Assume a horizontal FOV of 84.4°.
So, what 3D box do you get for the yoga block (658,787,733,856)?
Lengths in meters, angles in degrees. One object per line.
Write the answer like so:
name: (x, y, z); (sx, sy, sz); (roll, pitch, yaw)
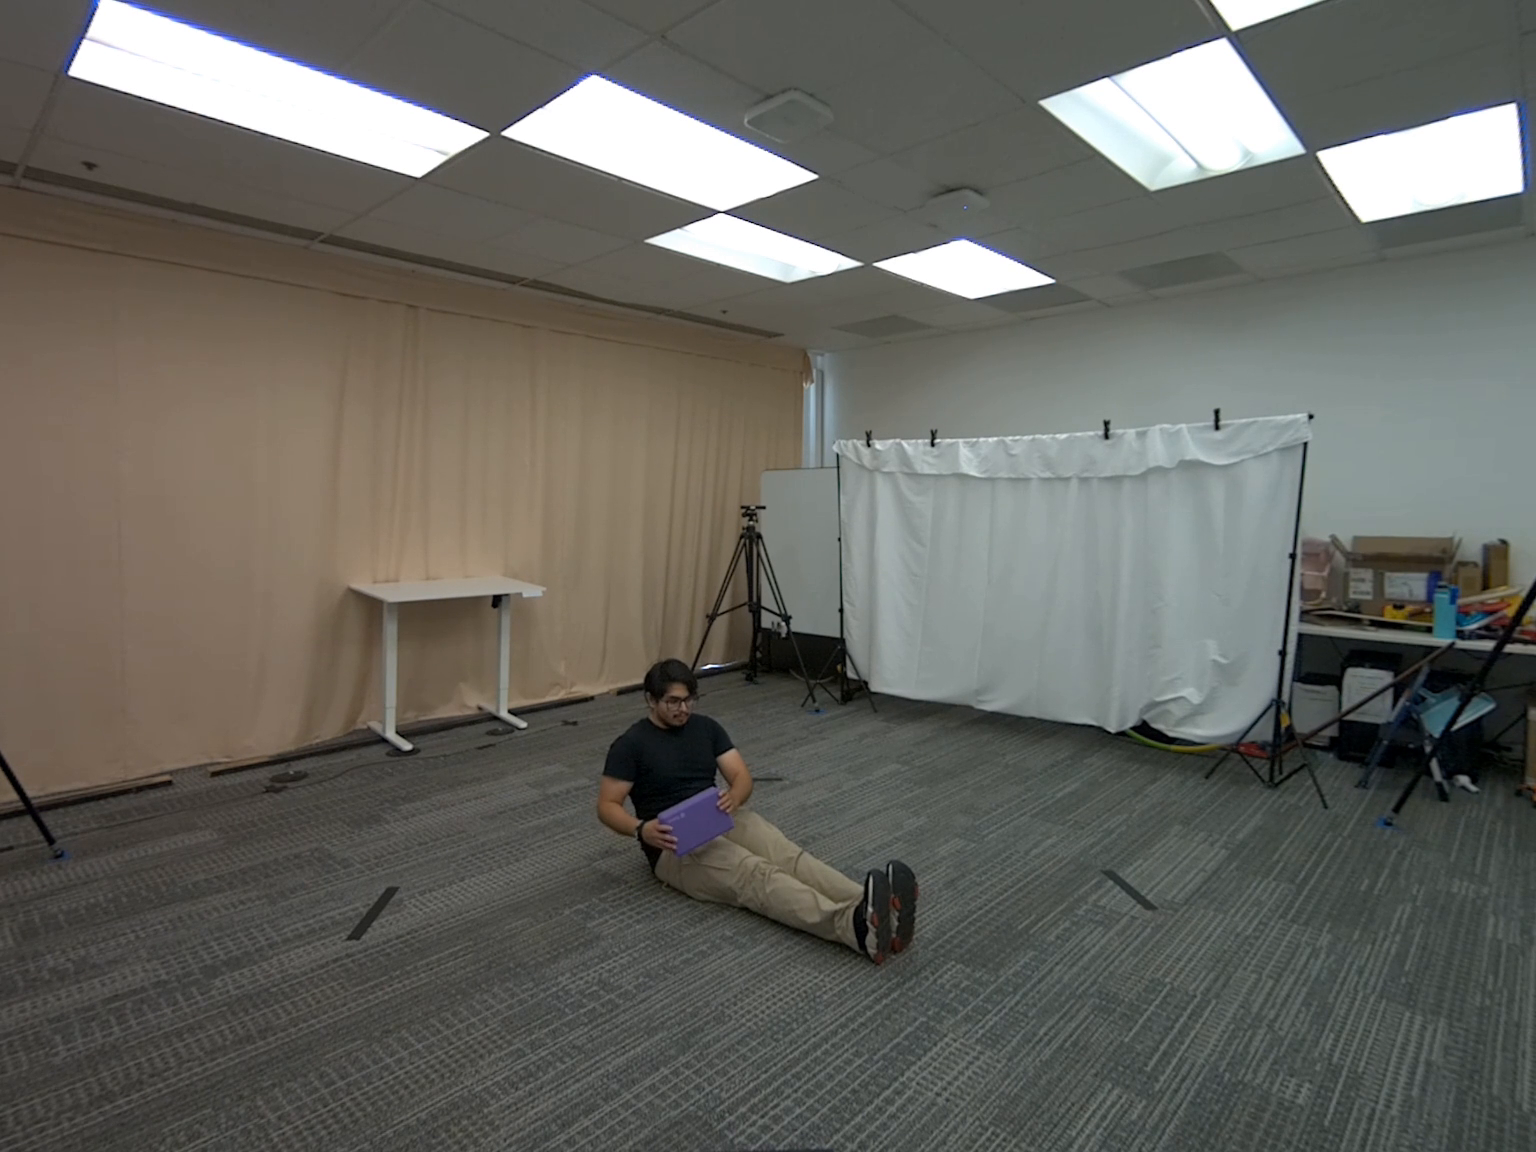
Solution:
yoga block: (-0.262, 0.850, 2.915); (0.227, 0.149, 0.077); (-22, -1, -16)
